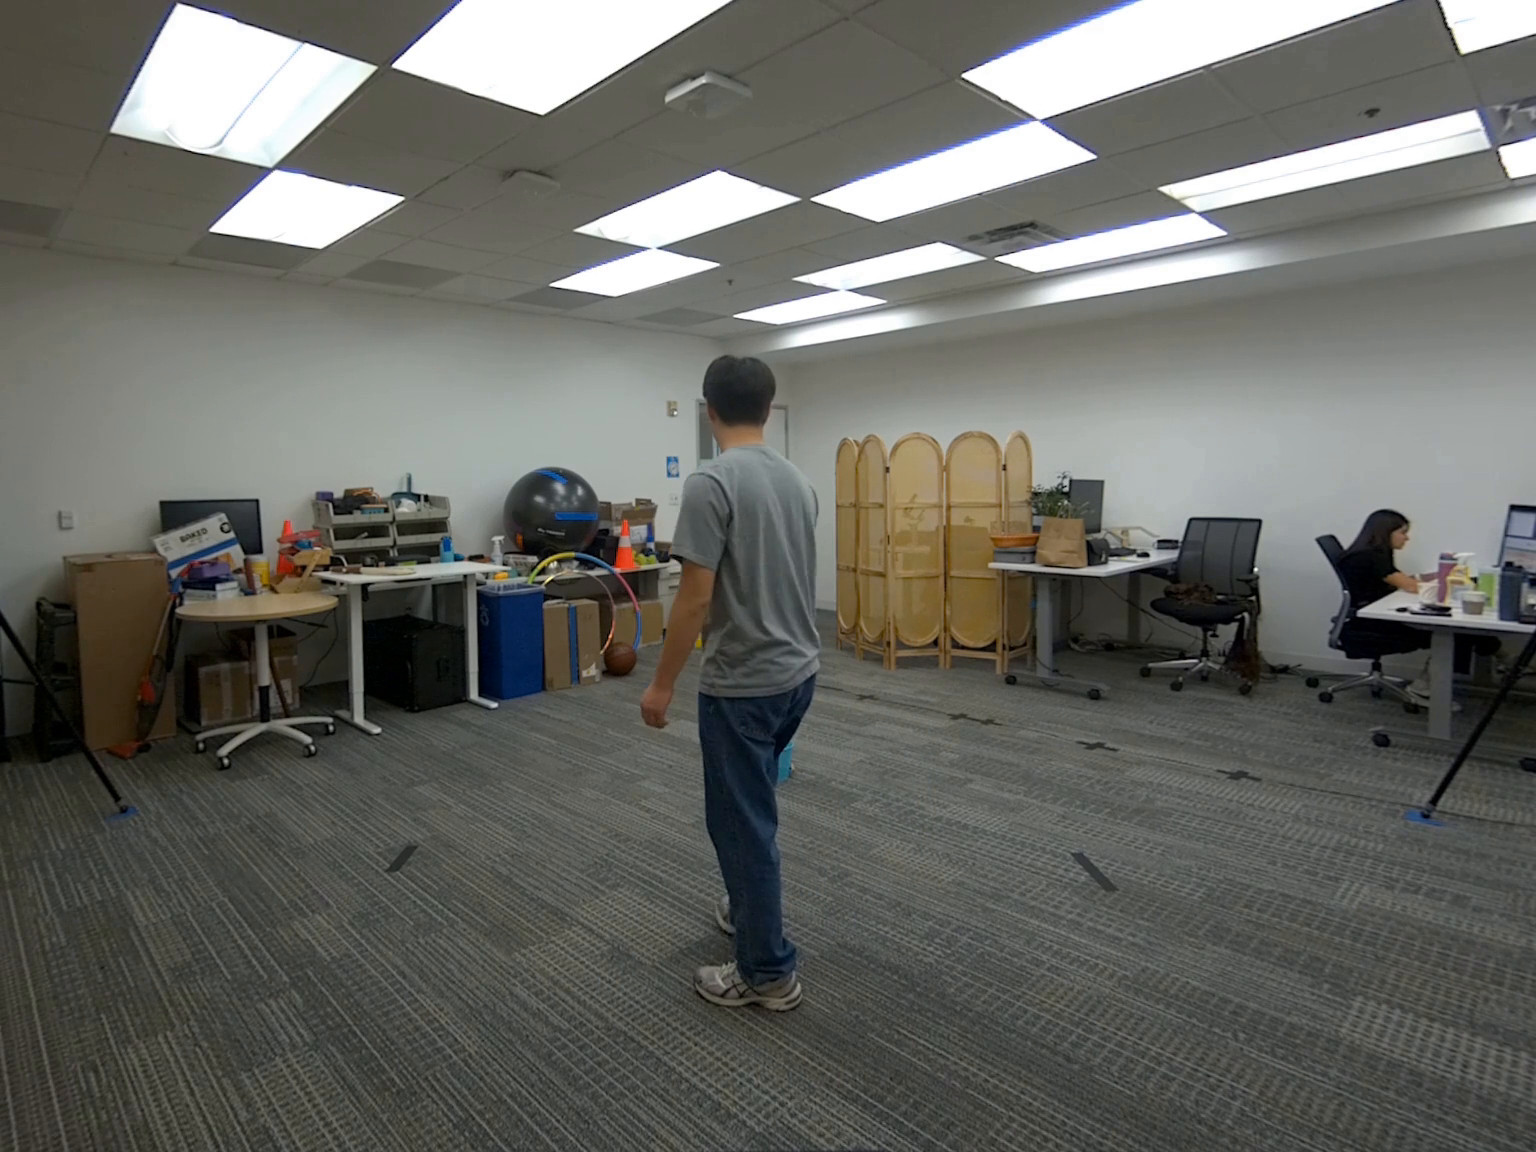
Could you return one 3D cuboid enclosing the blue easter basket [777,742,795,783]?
[{"bbox_3d":[0.014,0.865,4.026,0.243,0.155,0.245,-1,5,-2],"label":"blue easter basket"}]
